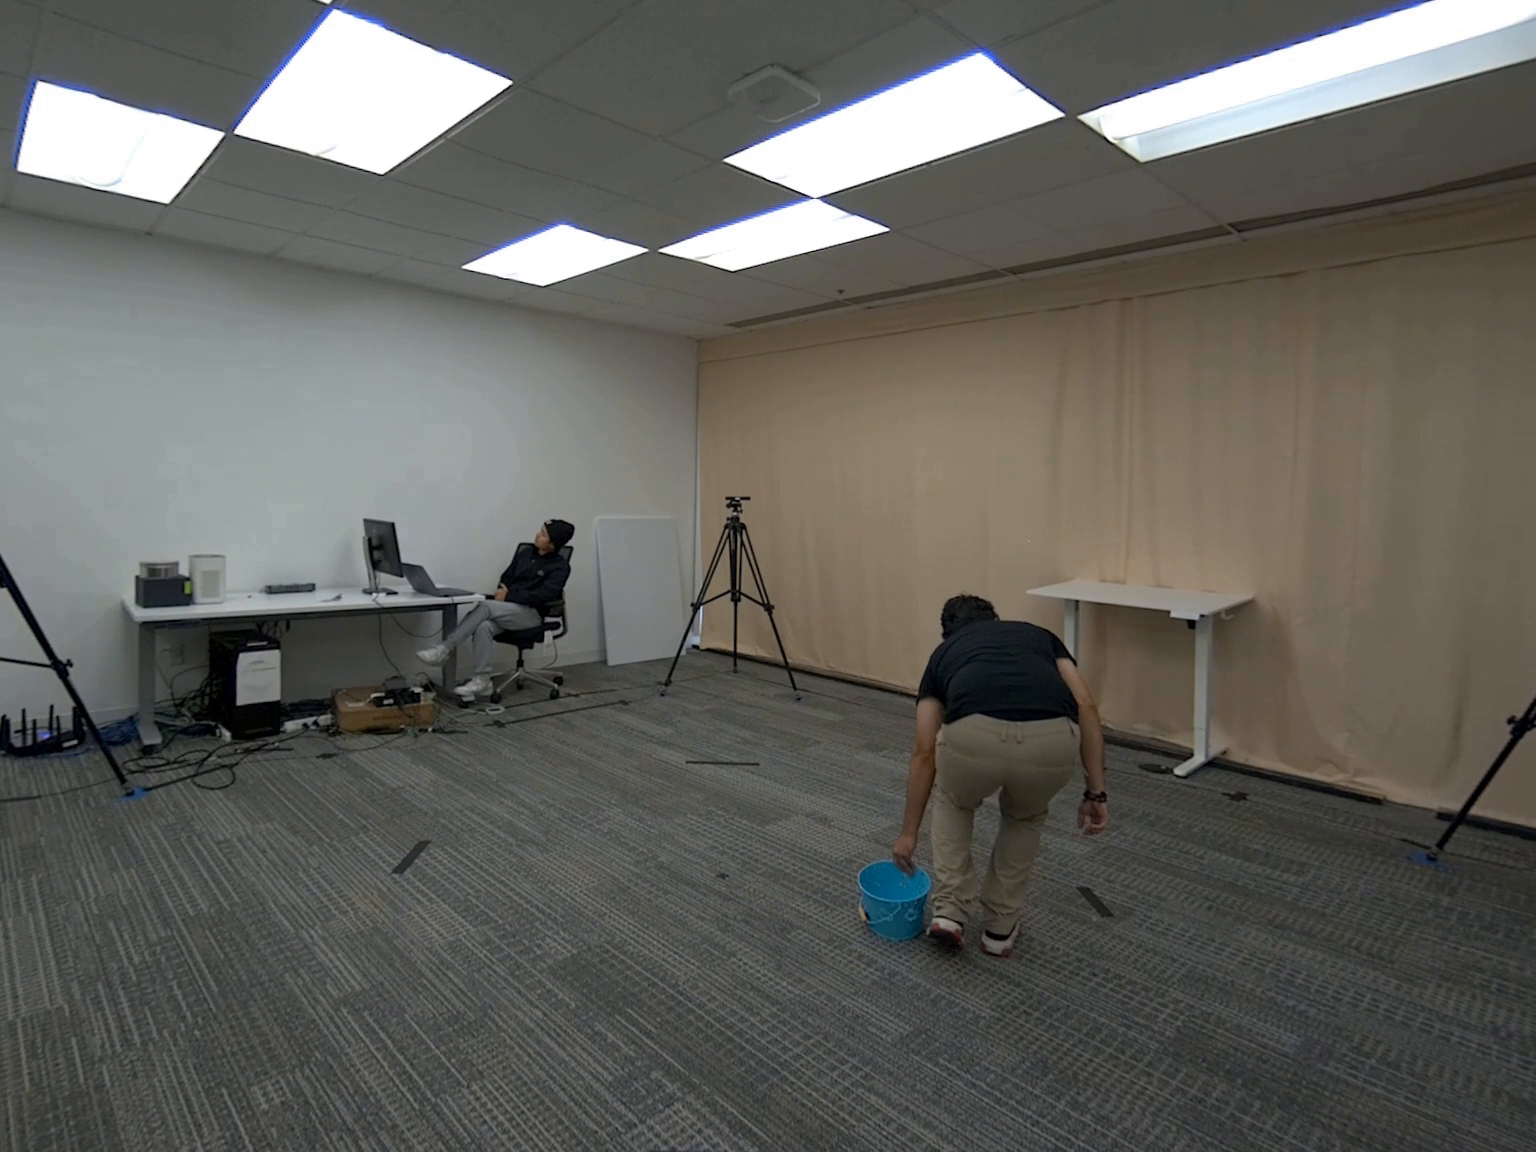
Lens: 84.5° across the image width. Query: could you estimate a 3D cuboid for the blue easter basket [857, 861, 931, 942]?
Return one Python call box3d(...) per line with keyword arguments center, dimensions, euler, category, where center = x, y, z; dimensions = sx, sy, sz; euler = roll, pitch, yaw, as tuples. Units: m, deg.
box3d(center=(0.407, 1.061, 2.752), dimensions=(0.243, 0.154, 0.246), euler=(-2, 13, -1), category="blue easter basket")
